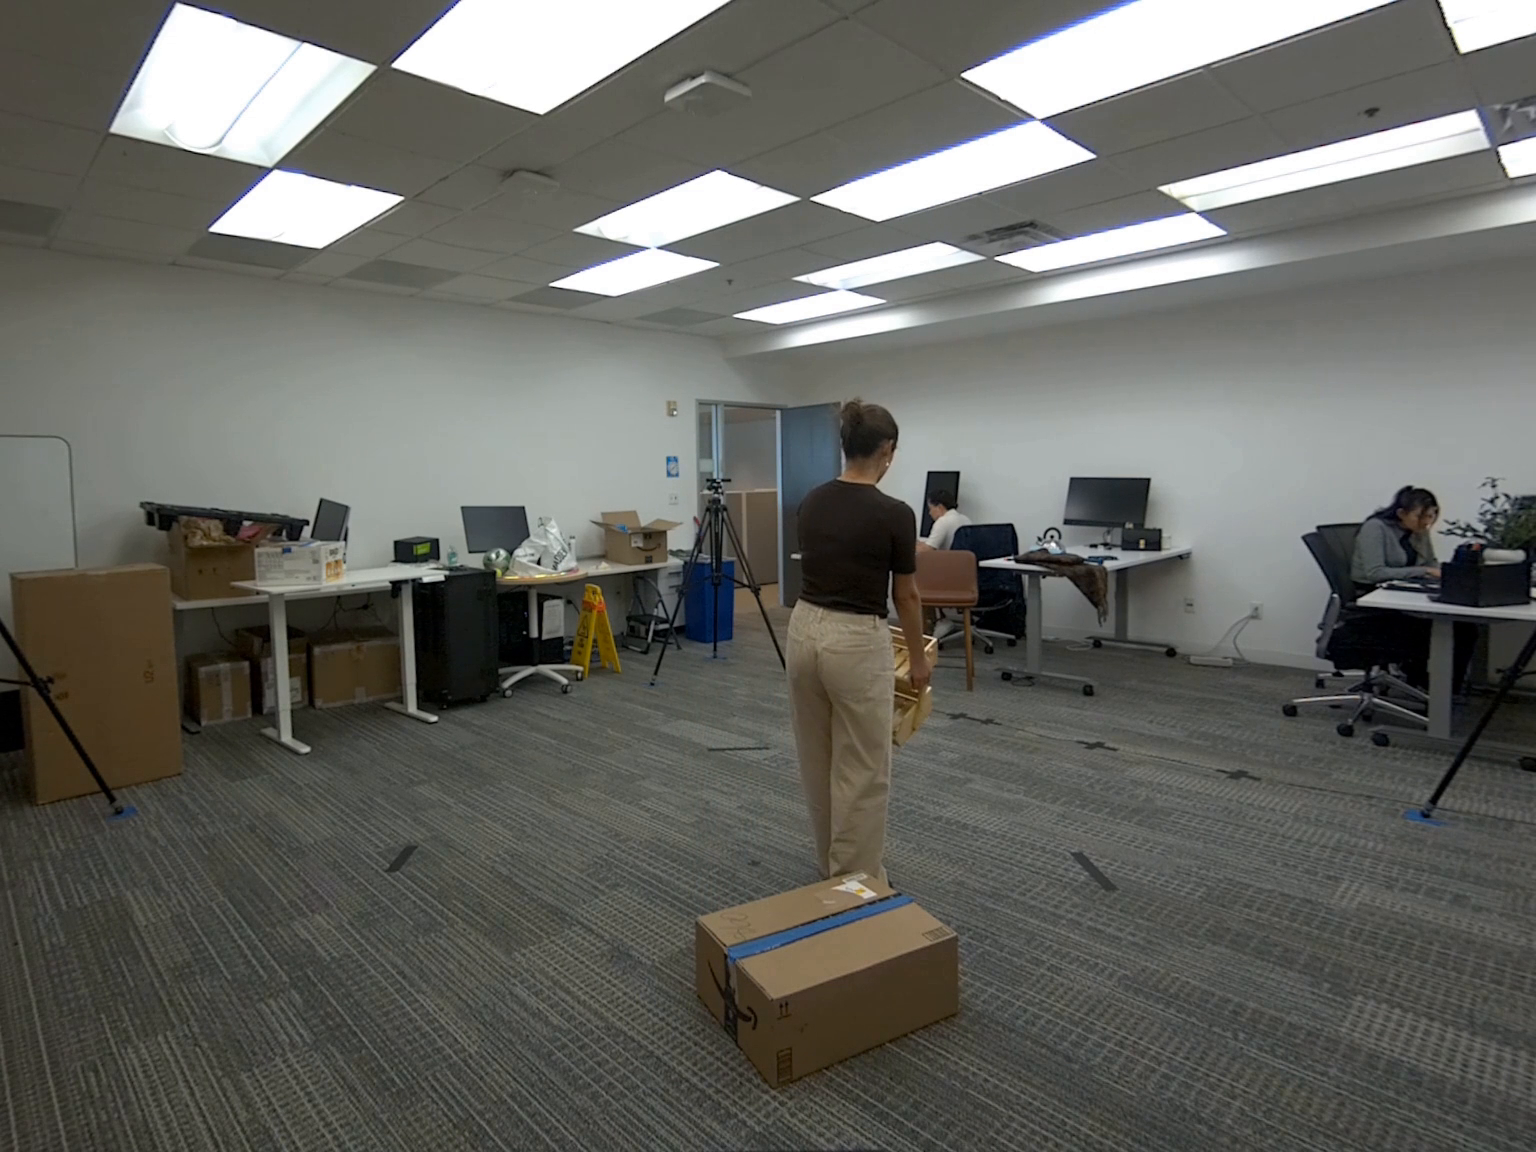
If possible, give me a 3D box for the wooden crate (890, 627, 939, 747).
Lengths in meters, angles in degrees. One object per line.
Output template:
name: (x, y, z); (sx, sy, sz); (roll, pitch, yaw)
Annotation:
wooden crate: (0.379, 0.355, 2.927); (0.335, 0.267, 0.300); (11, 31, 33)
